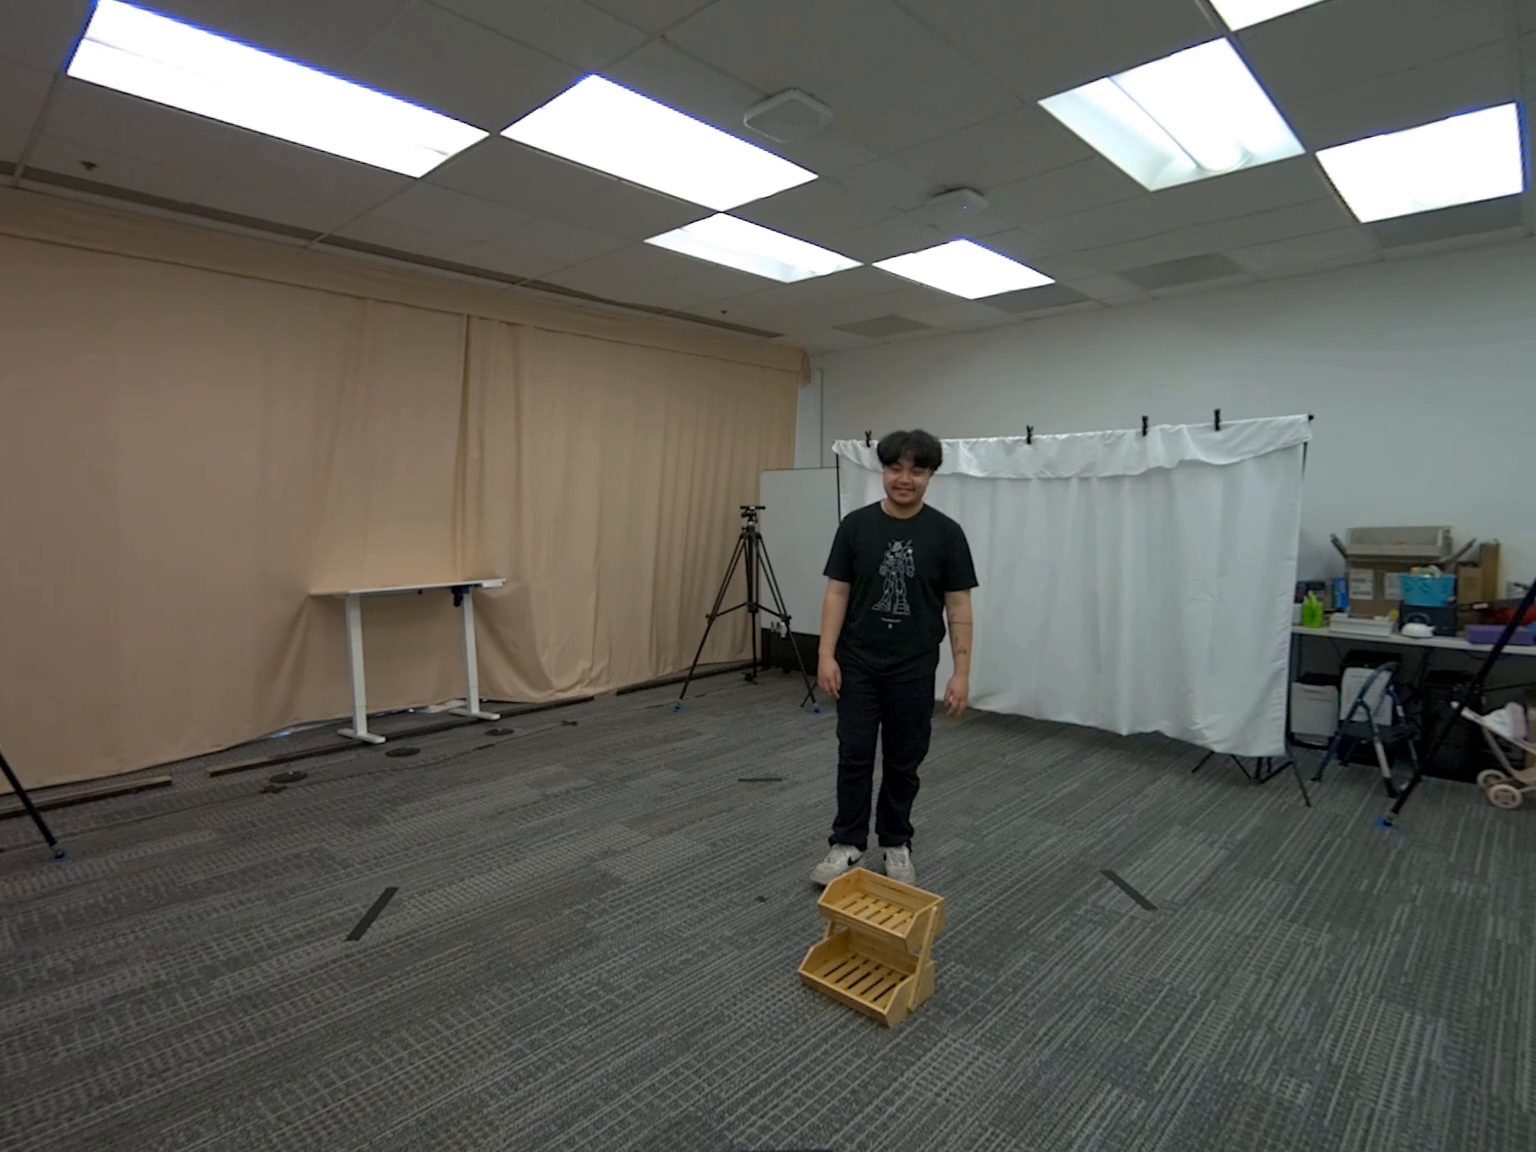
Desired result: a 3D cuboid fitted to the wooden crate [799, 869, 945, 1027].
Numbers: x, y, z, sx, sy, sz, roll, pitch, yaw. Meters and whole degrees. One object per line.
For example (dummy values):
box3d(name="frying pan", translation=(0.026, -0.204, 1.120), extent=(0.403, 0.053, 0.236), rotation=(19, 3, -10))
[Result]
box3d(name="wooden crate", translation=(0.303, 1.058, 2.432), extent=(0.335, 0.273, 0.293), rotation=(4, 5, 43))
